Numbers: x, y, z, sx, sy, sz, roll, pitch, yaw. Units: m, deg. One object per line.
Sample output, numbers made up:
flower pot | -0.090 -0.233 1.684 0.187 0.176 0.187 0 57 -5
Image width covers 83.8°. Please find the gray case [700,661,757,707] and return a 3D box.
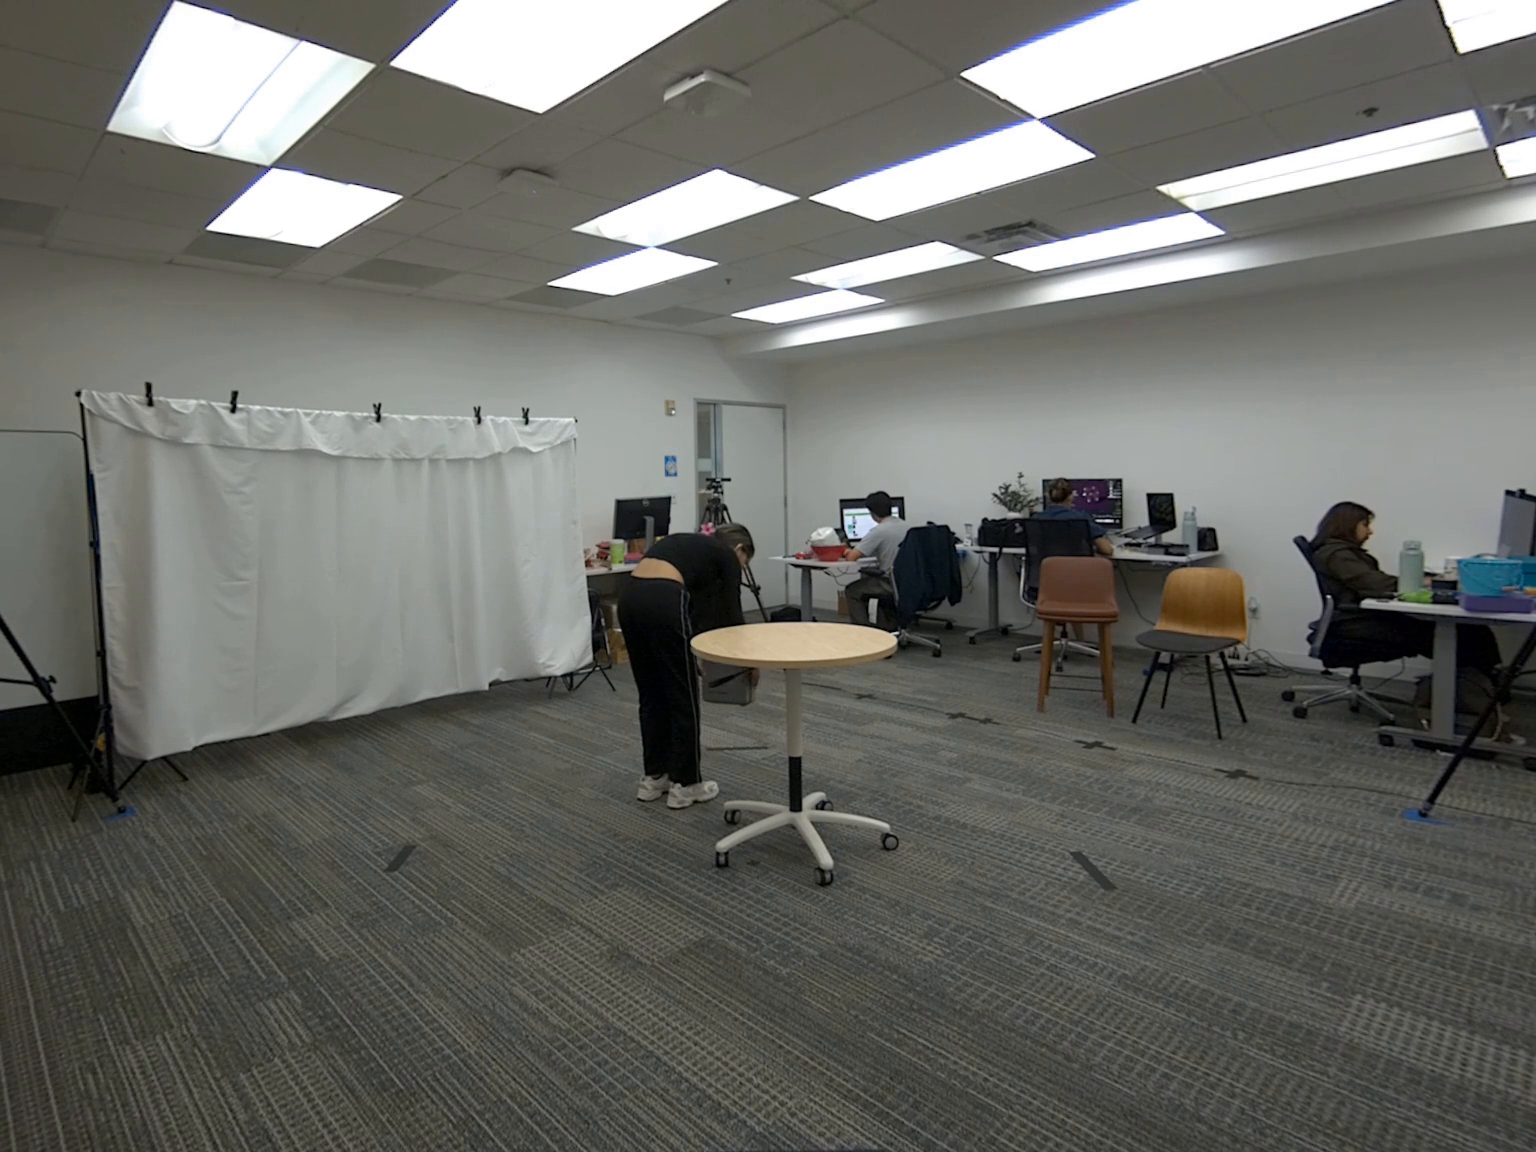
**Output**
gray case | -0.191 0.463 3.994 0.263 0.261 0.101 -1 -4 27
